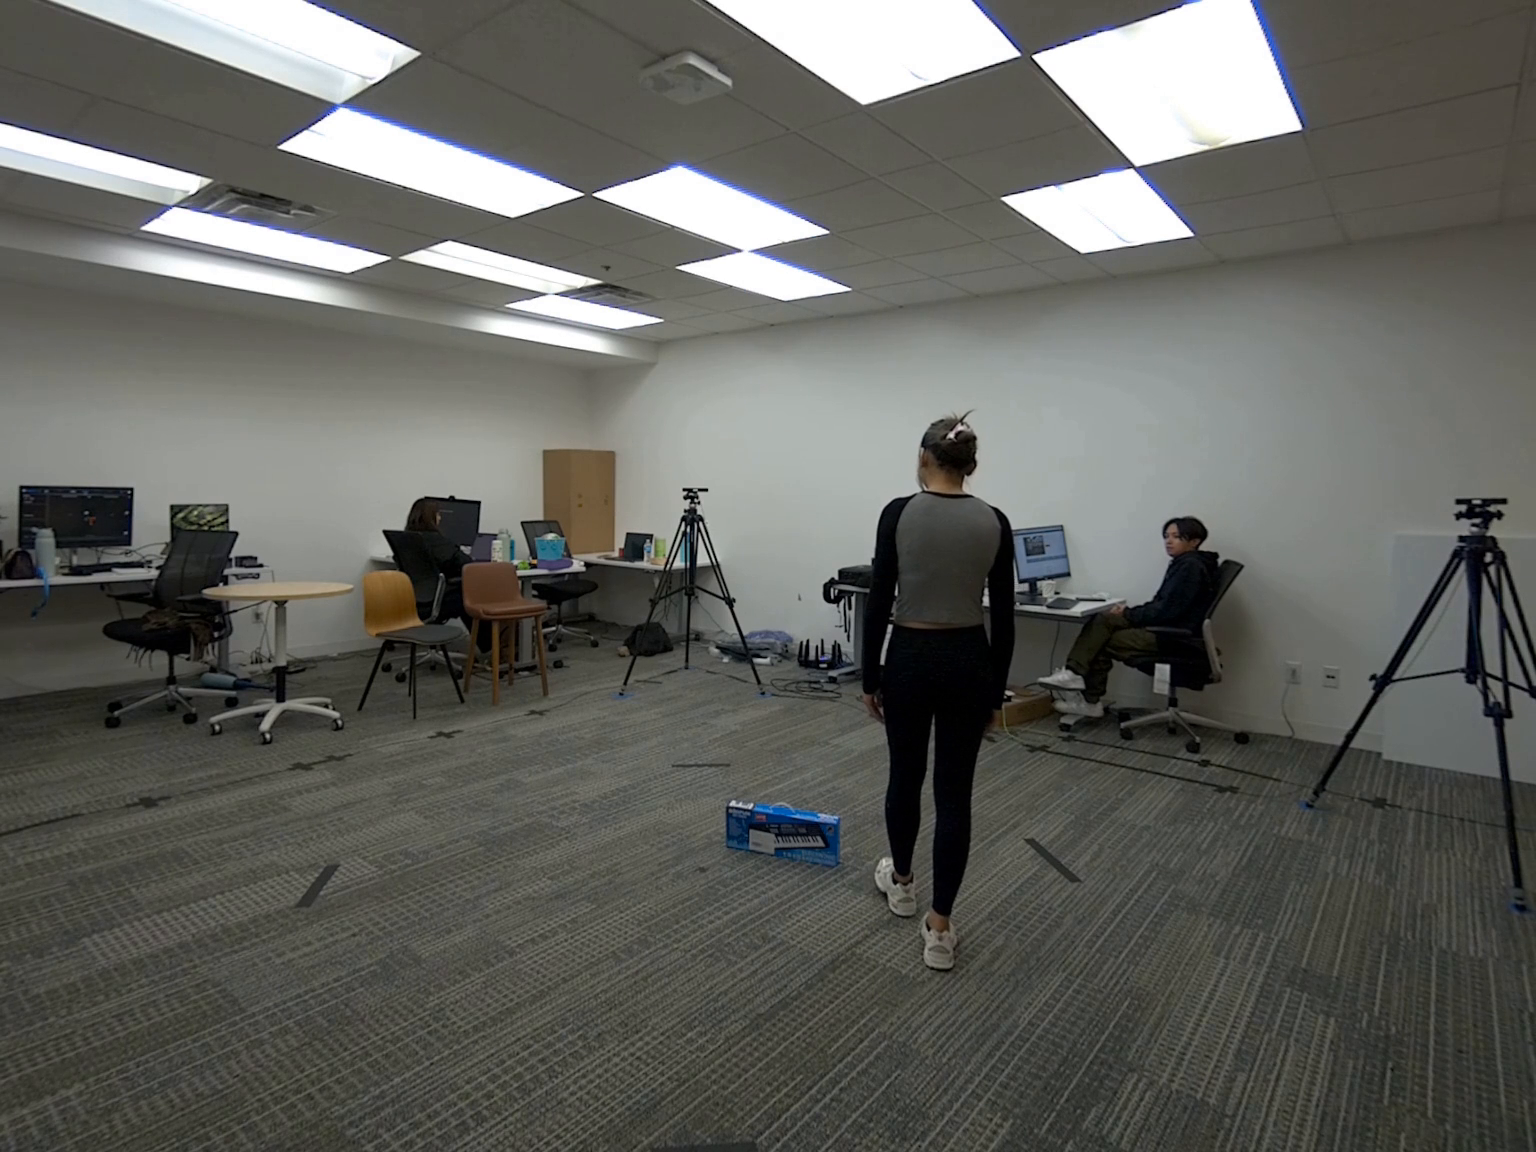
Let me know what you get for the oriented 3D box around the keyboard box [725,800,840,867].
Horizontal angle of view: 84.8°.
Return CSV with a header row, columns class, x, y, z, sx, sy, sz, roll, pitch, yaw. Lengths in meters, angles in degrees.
class,x,y,z,sx,sy,sz,roll,pitch,yaw
keyboard box,0.046,0.973,3.238,0.446,0.174,0.058,3,10,20
